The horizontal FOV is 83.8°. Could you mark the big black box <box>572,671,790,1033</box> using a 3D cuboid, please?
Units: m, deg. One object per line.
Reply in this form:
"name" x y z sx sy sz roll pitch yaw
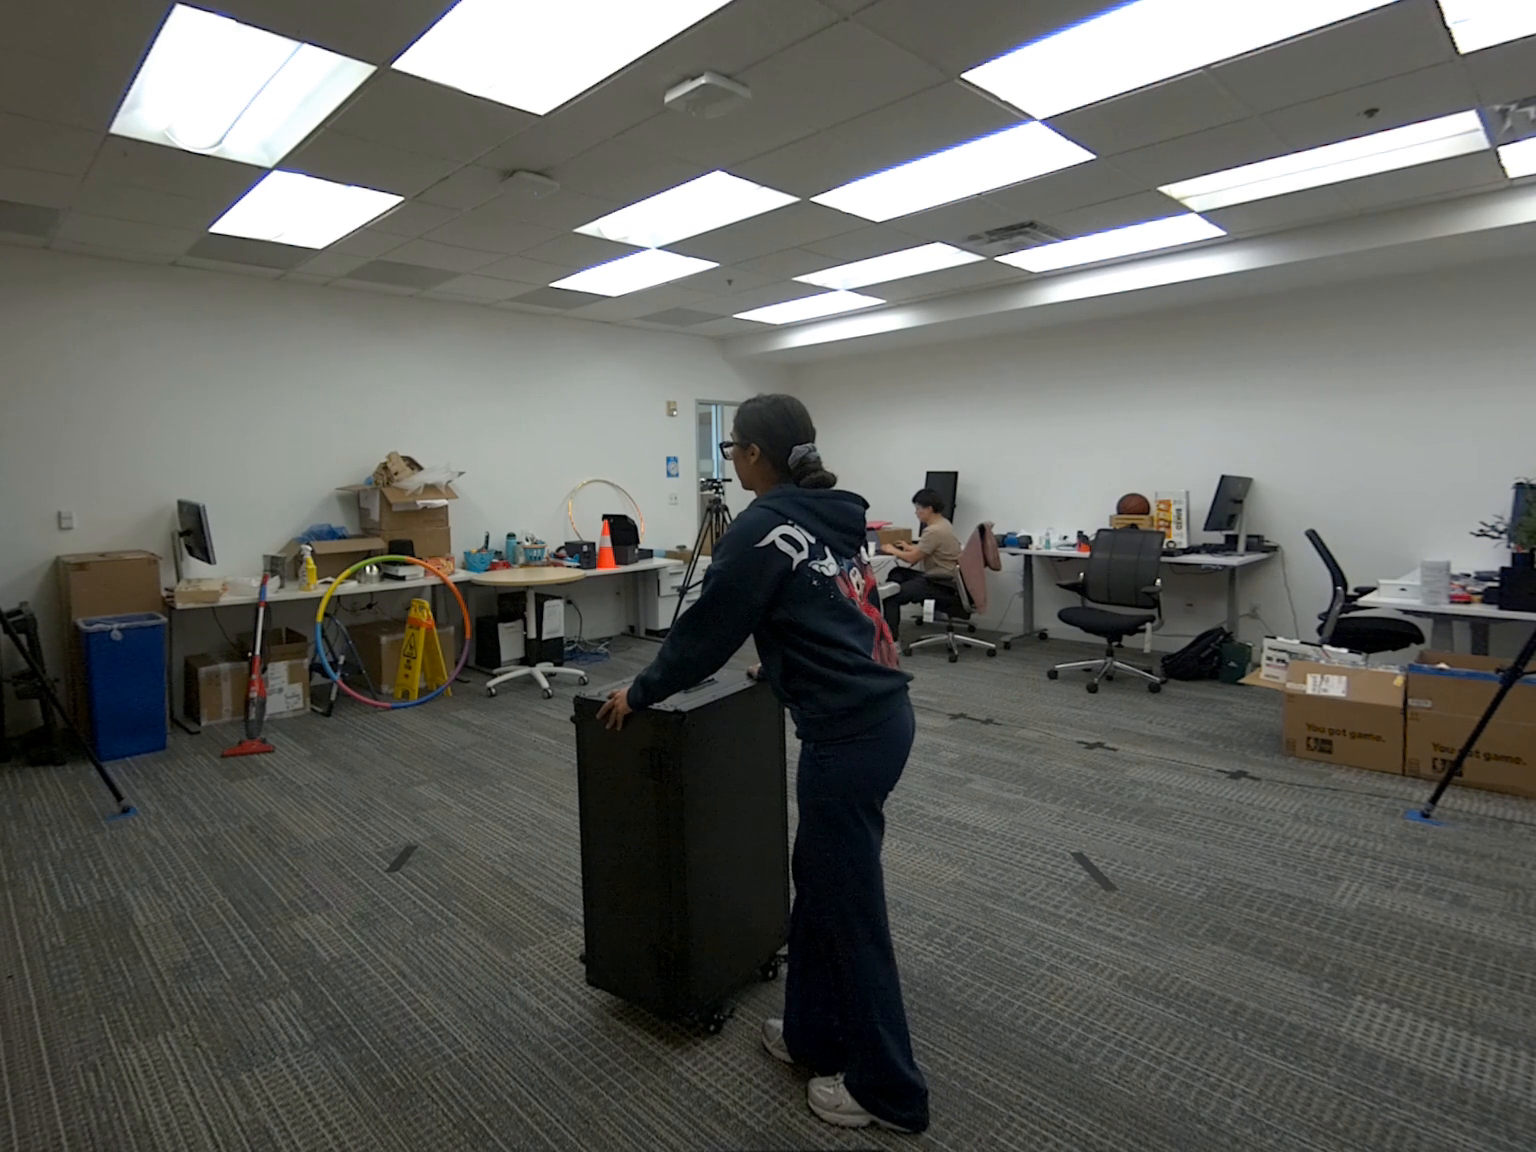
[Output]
"big black box" -0.227 0.712 2.339 0.407 0.859 0.509 0 4 34
